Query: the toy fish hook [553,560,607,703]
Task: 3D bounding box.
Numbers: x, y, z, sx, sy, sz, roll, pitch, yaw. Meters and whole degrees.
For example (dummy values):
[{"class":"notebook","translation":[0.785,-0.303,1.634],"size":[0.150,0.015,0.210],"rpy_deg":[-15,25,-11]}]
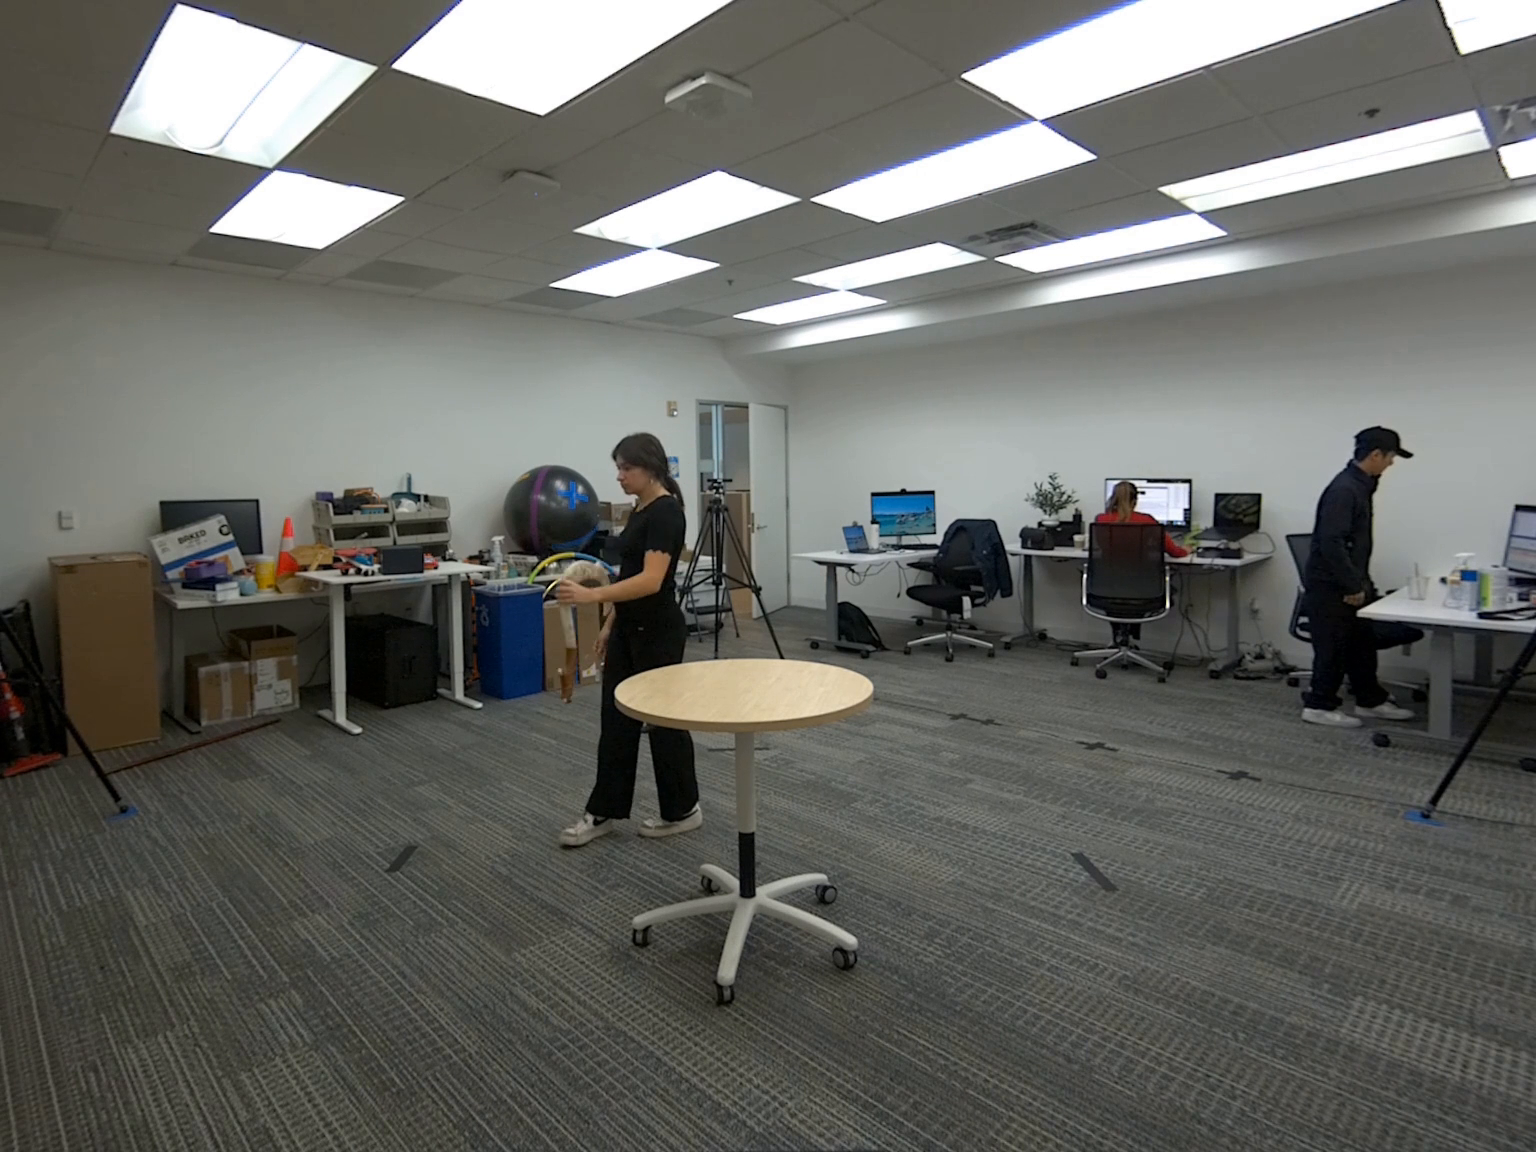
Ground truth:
[{"class":"toy fish hook","translation":[-0.664,0.192,3.069],"size":[0.218,0.507,0.049],"rpy_deg":[3,-2,-36]}]
